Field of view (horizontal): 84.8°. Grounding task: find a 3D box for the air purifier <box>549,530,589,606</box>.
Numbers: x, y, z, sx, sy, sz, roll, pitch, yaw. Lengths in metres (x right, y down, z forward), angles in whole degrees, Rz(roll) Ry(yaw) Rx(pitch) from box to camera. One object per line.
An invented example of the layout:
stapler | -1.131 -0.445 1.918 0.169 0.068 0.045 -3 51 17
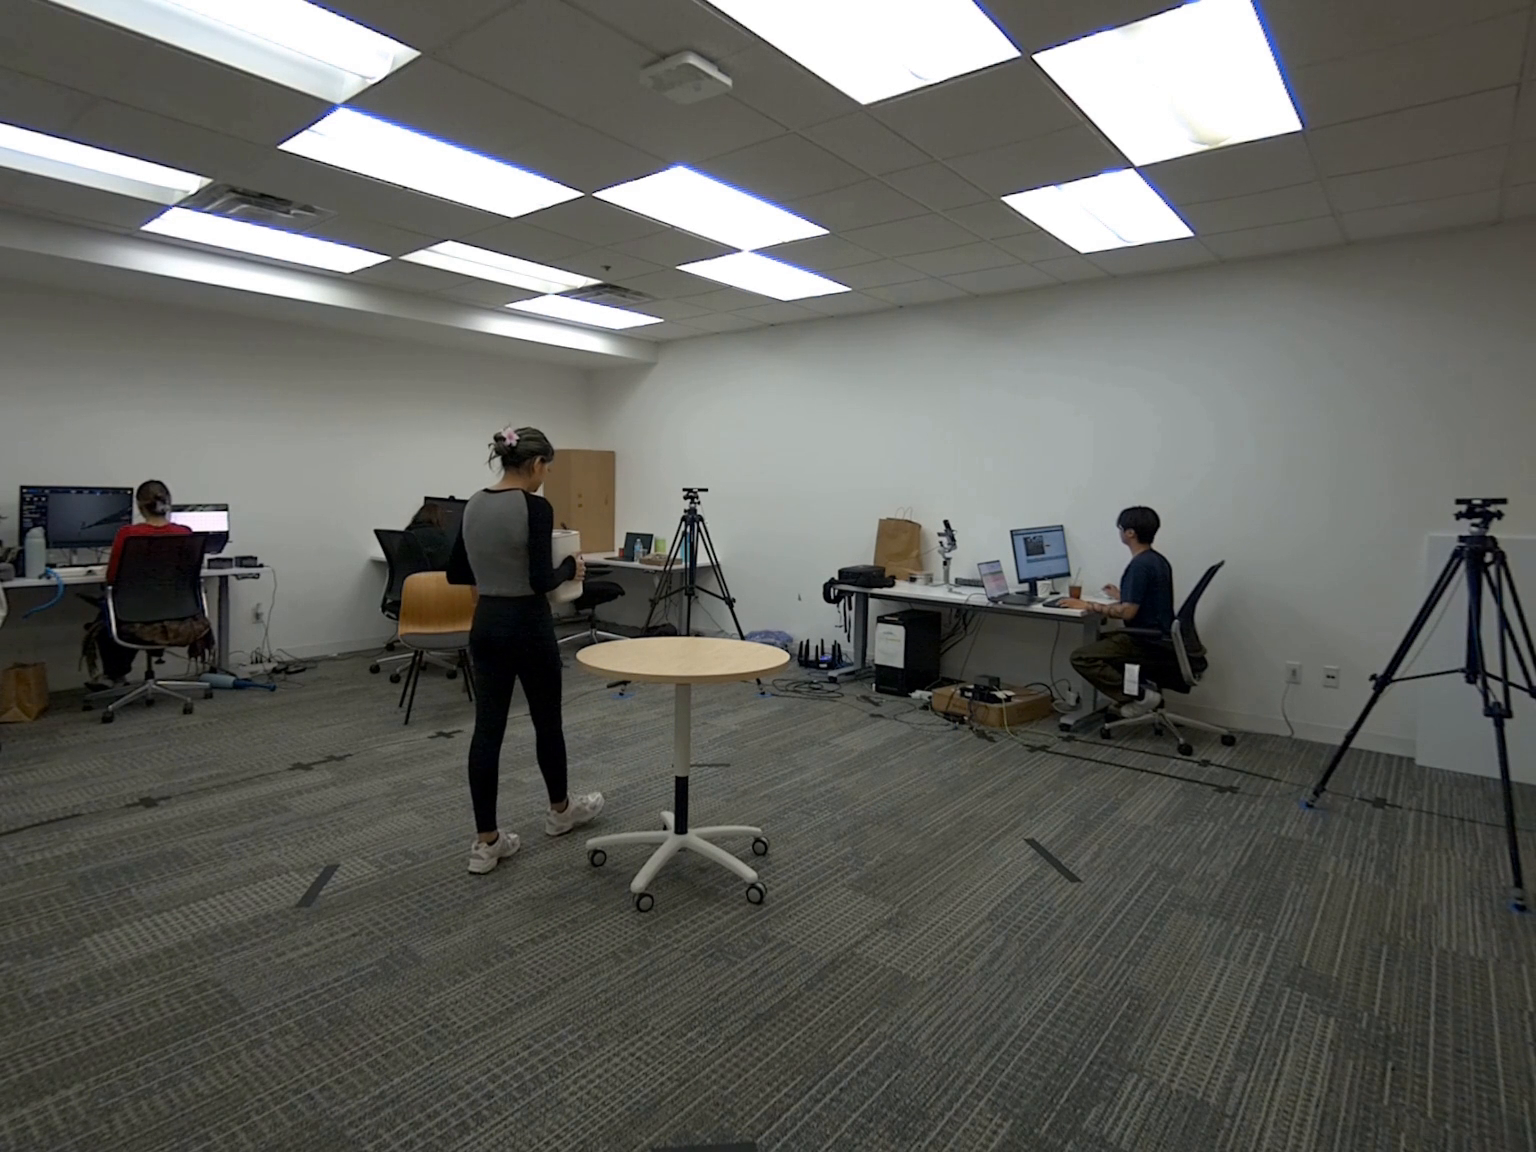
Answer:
air purifier | -0.847 -0.038 3.361 0.176 0.263 0.168 2 9 28
